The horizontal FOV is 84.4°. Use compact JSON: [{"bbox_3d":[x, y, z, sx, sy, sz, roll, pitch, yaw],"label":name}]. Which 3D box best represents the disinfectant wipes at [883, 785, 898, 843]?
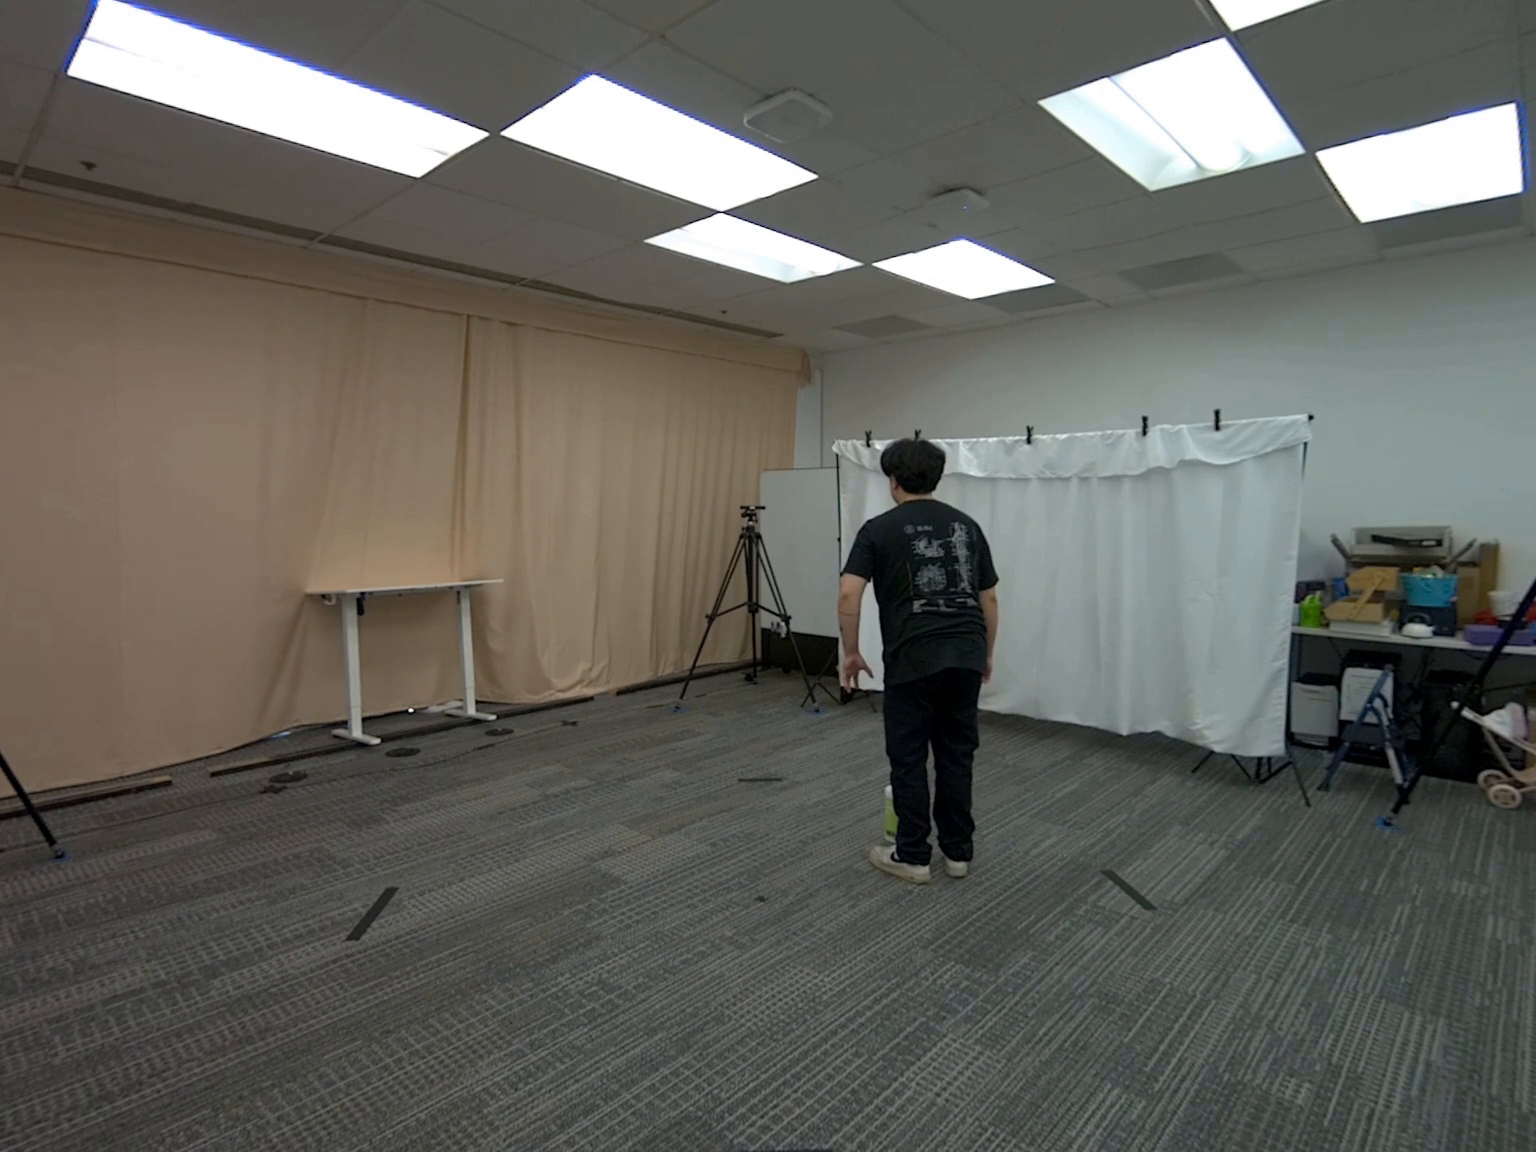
[{"bbox_3d":[0.552,0.999,3.506,0.117,0.217,0.118,2,3,-2],"label":"disinfectant wipes"}]
